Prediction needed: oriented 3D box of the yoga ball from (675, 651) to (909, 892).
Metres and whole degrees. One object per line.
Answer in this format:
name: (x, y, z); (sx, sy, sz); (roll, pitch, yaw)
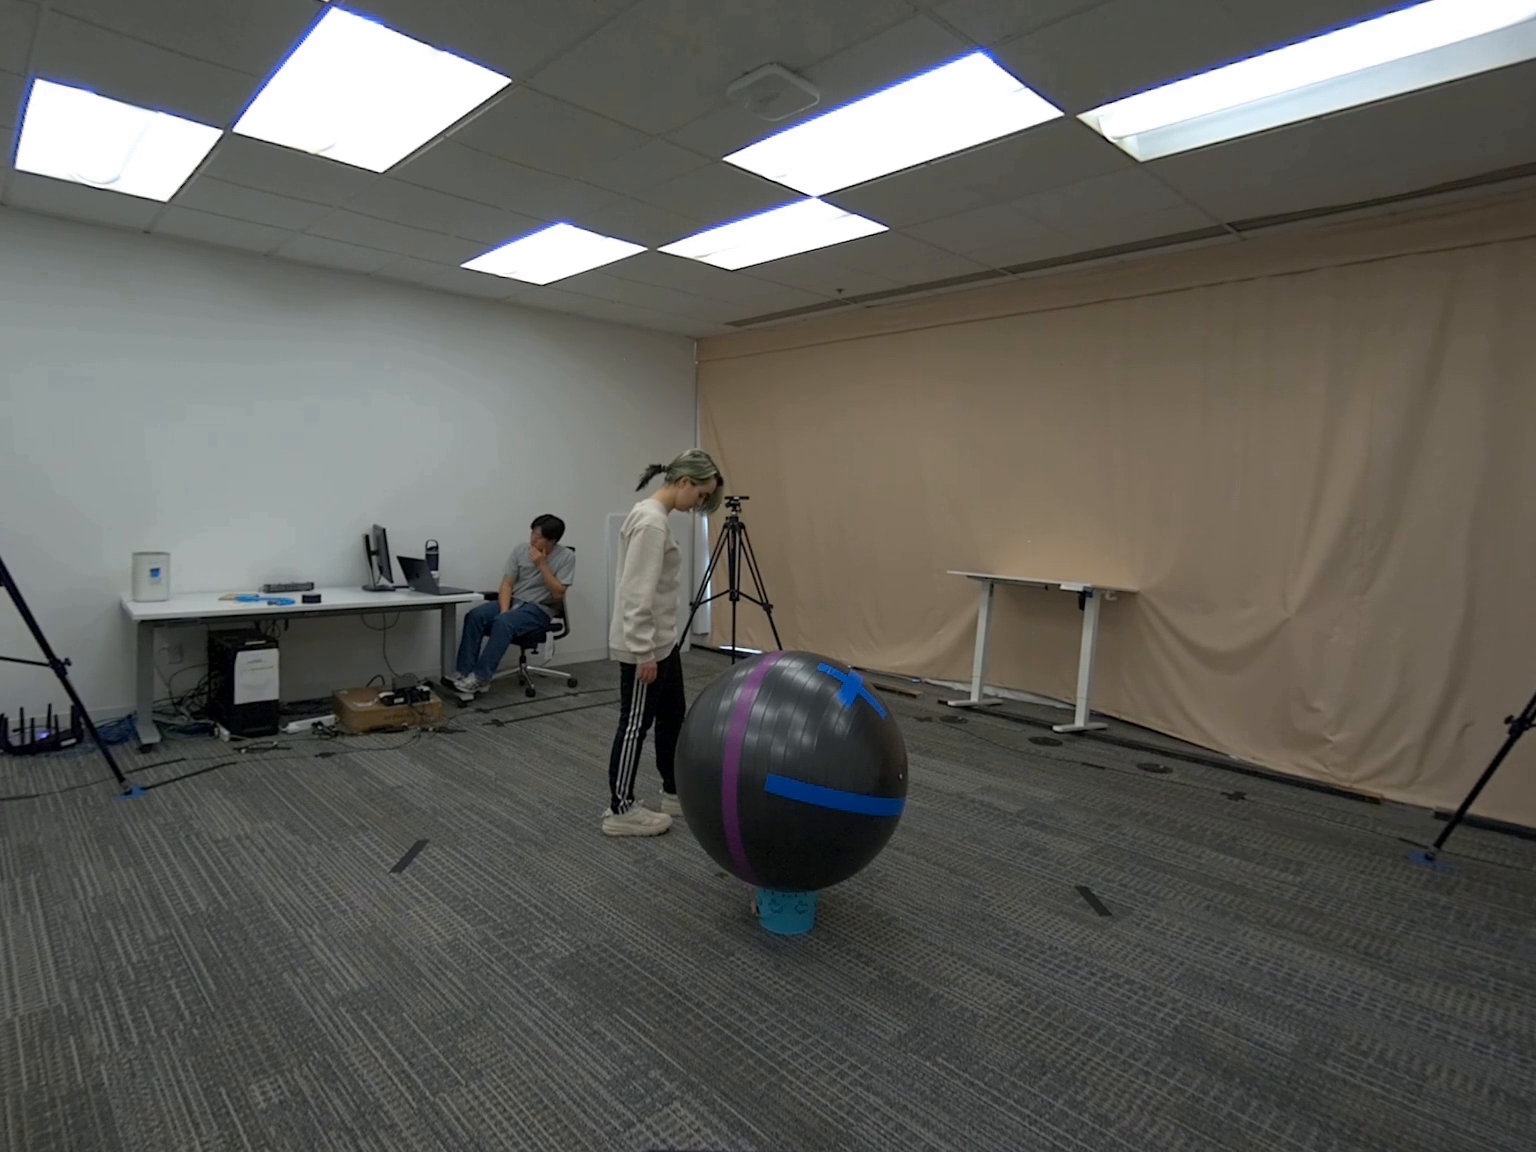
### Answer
yoga ball: (0.069, 0.627, 2.756); (0.757, 0.756, 0.761); (1, 4, -1)
